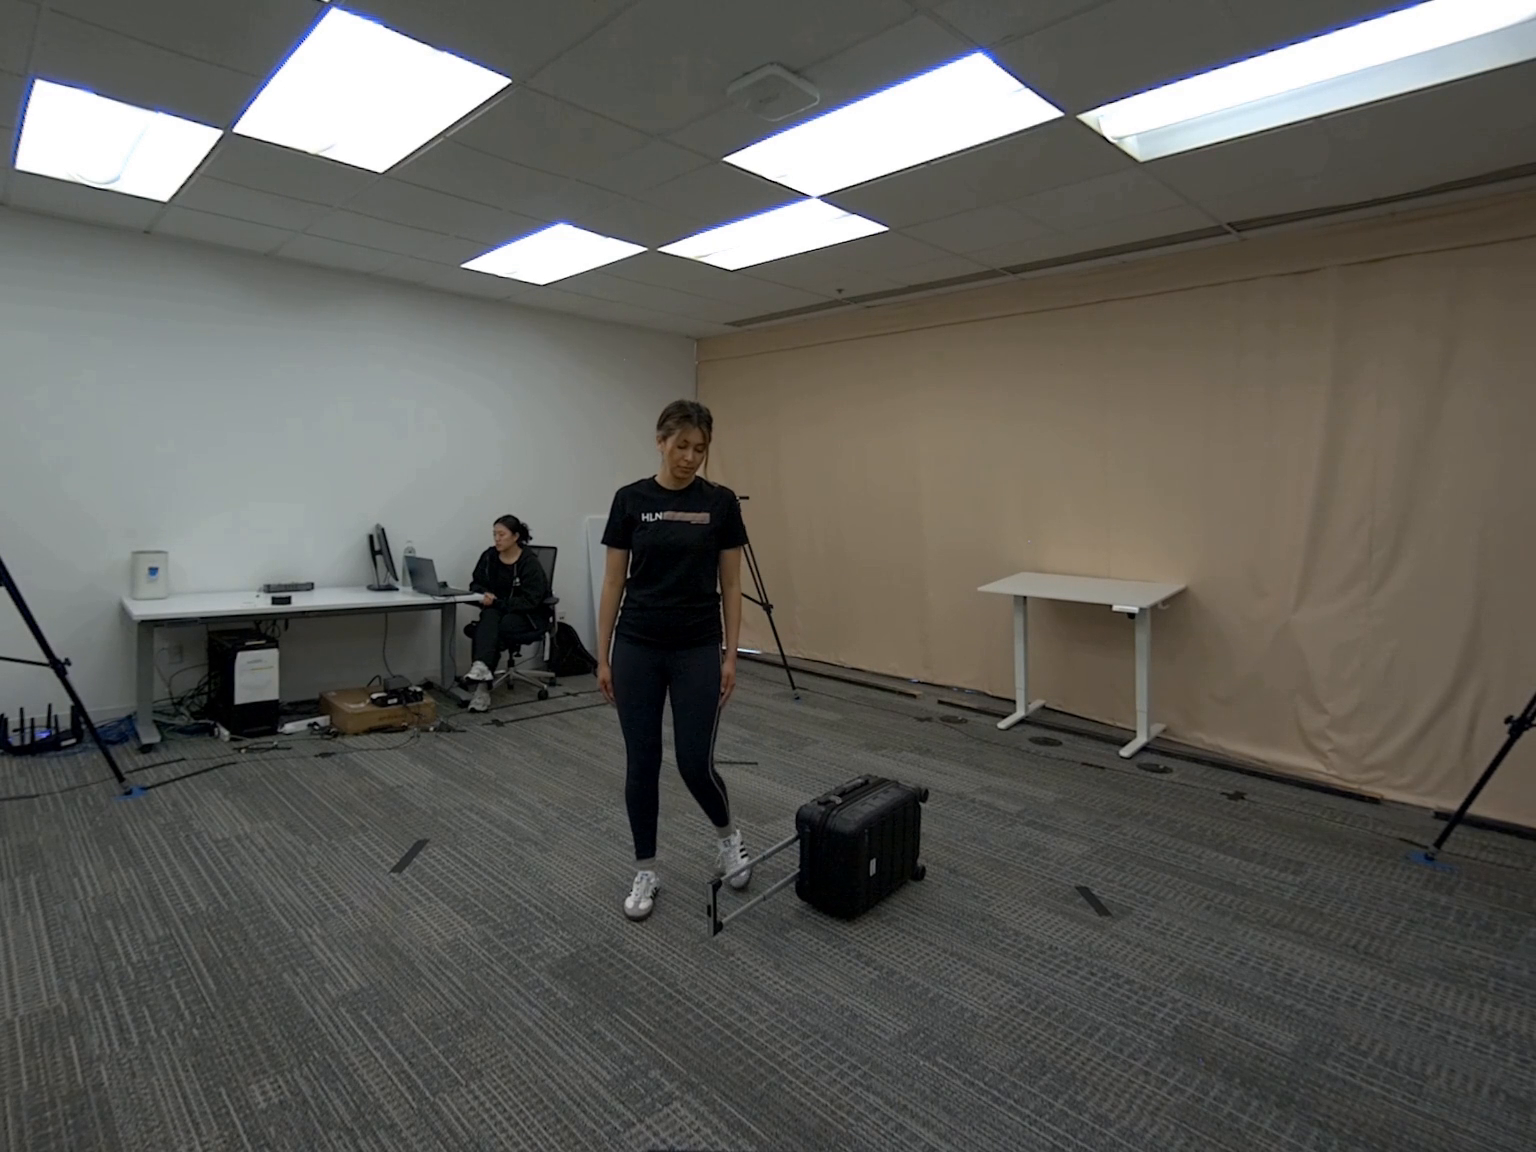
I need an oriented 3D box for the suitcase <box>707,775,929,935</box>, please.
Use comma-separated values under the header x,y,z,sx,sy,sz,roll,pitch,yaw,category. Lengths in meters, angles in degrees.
x,y,z,sx,sy,sz,roll,pitch,yaw,category
0.205,0.952,2.811,0.263,0.383,0.958,2,5,36,suitcase
